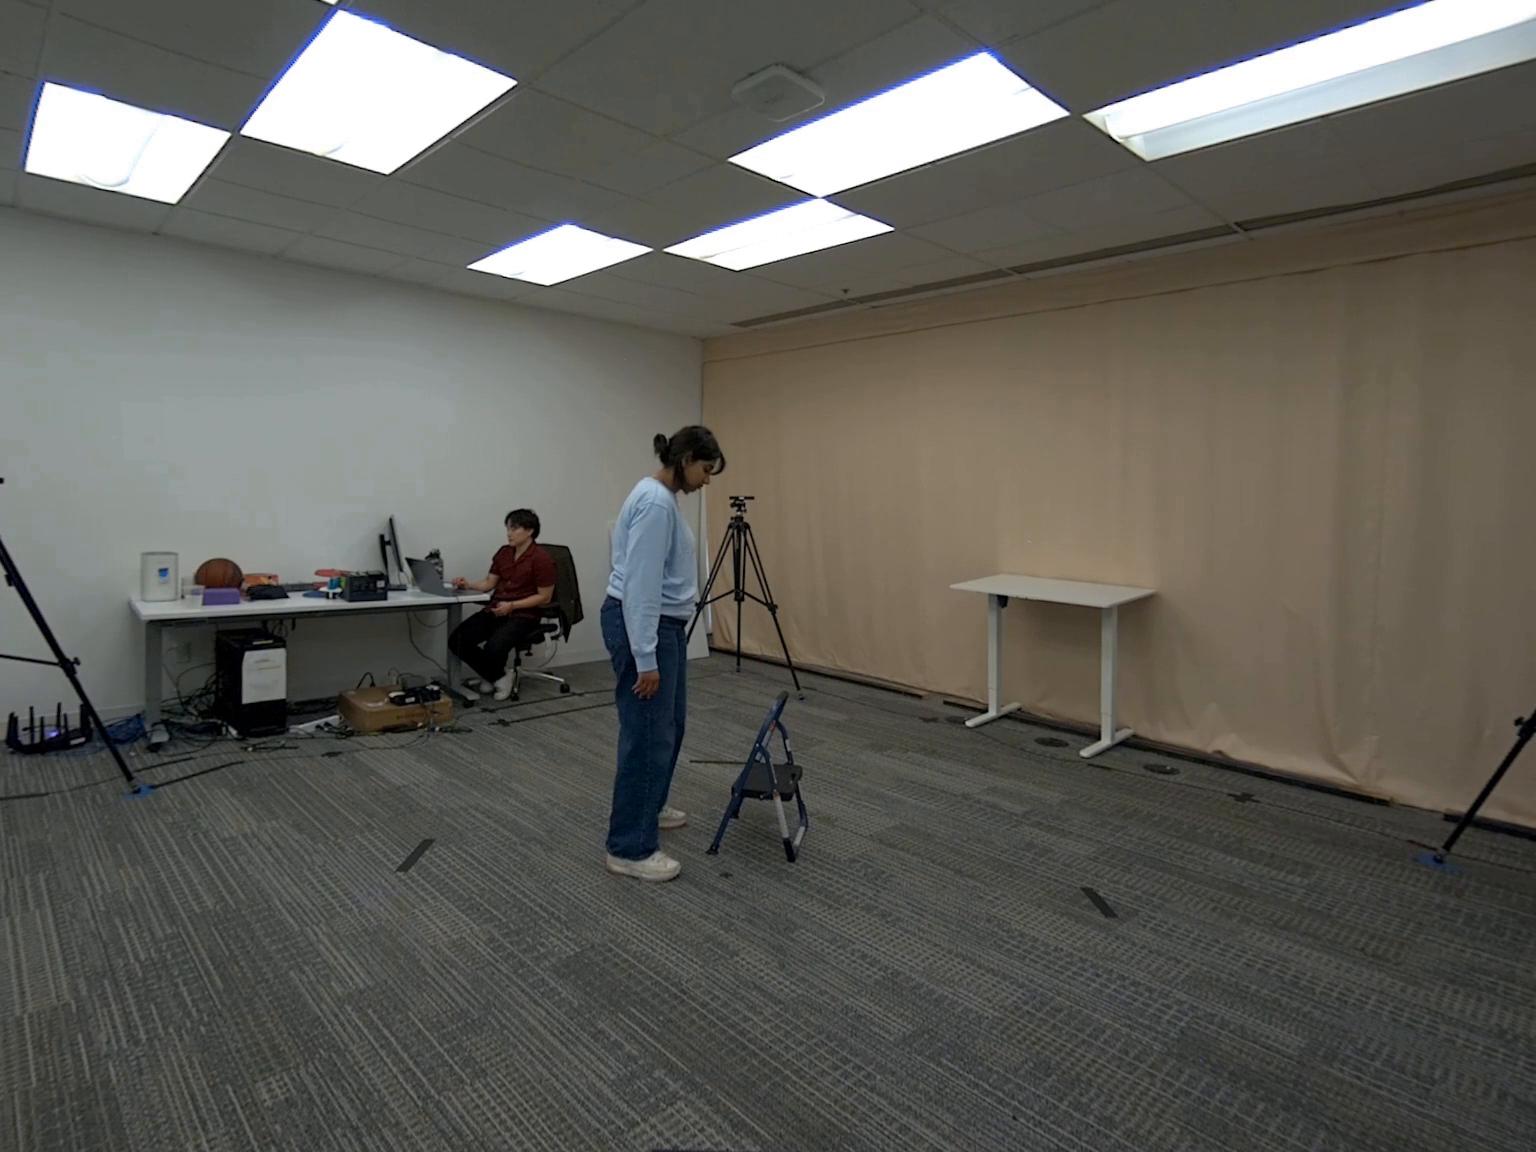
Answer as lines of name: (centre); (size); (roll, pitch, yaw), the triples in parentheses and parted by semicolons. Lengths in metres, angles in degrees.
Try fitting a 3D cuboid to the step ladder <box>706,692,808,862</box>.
step ladder: (-0.032, 0.777, 3.443); (0.353, 0.605, 0.427); (2, 4, 11)
